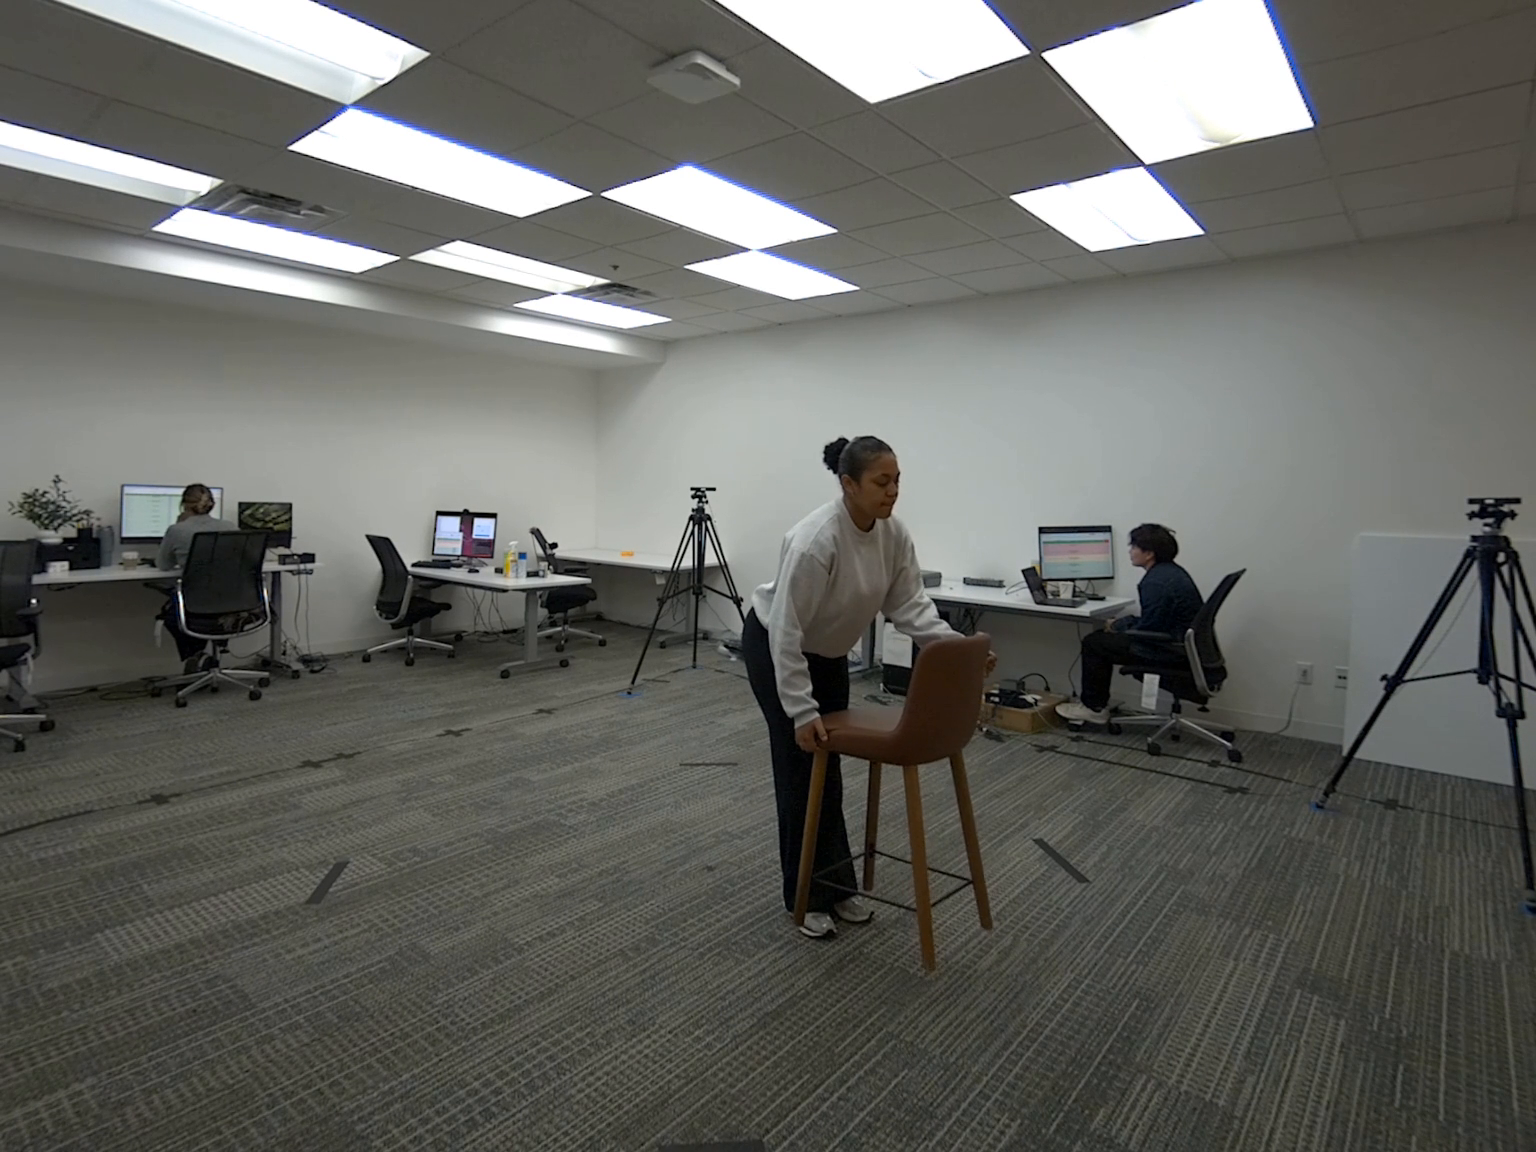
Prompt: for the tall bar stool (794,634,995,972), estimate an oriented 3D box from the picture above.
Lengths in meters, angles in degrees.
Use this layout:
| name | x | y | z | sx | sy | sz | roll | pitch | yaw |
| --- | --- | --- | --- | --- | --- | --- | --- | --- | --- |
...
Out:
| name | x | y | z | sx | sy | sz | roll | pitch | yaw |
| --- | --- | --- | --- | --- | --- | --- | --- | --- | --- |
| tall bar stool | 0.381 | 0.604 | 2.536 | 0.483 | 0.890 | 0.442 | 1 | 0 | 40 |
